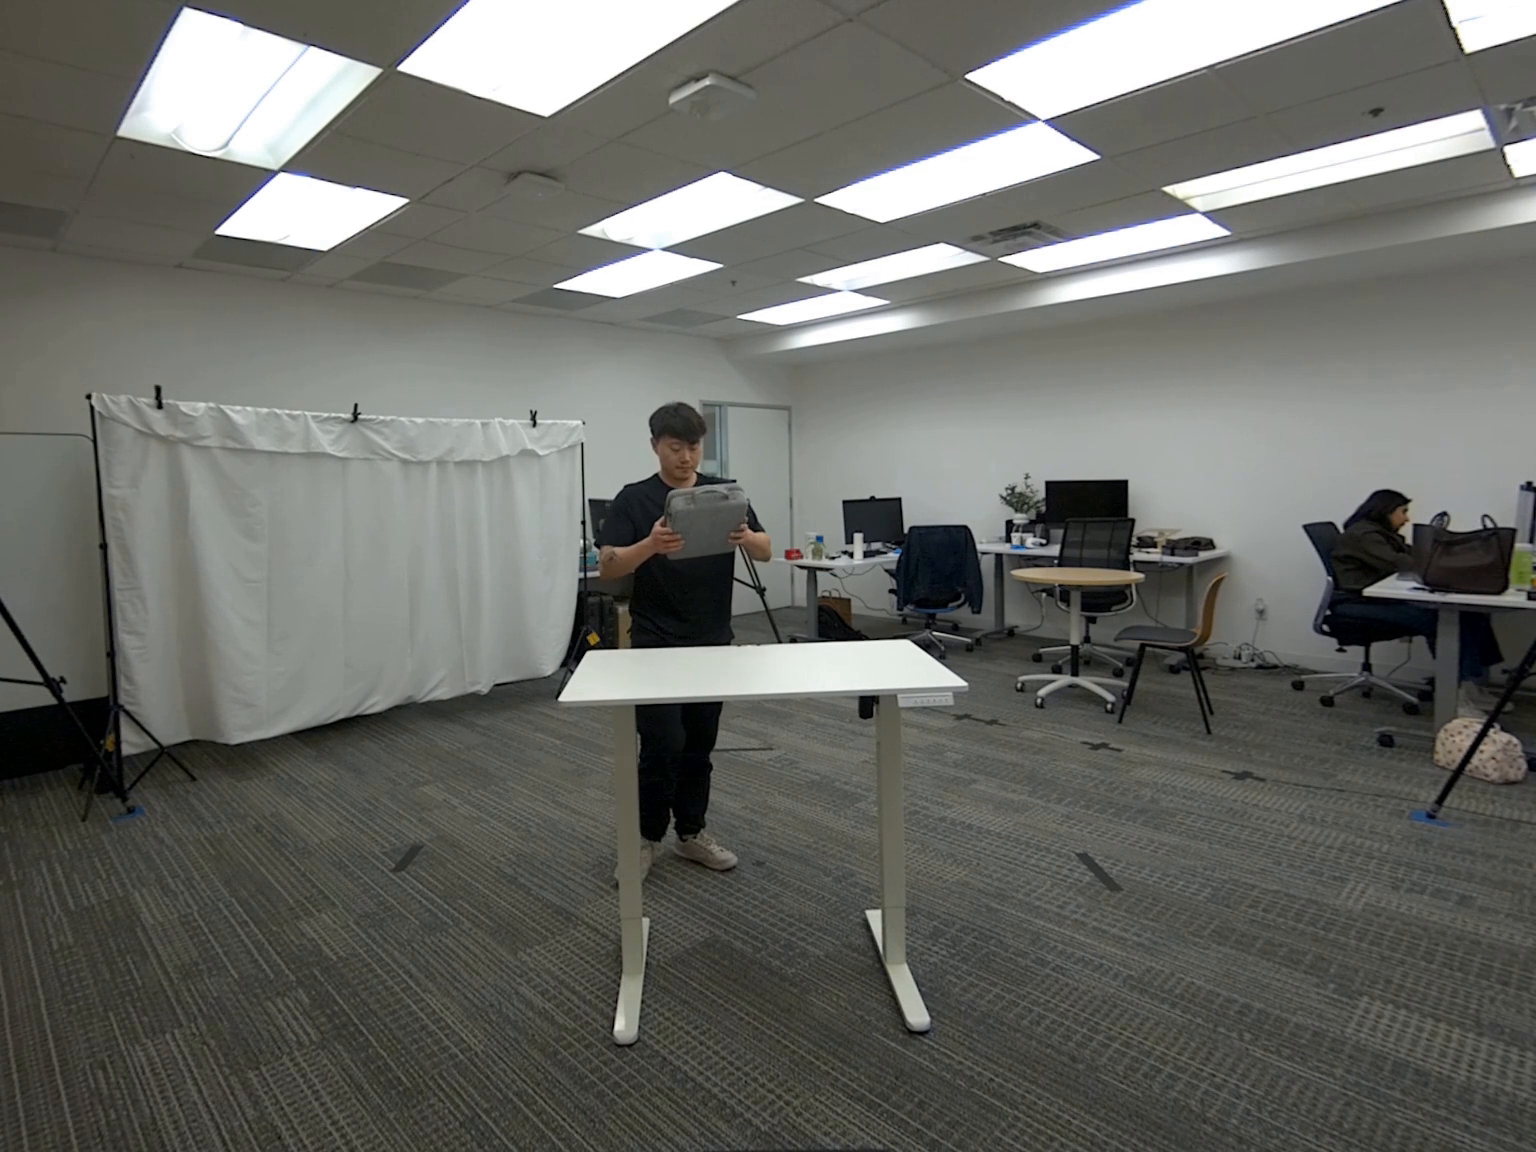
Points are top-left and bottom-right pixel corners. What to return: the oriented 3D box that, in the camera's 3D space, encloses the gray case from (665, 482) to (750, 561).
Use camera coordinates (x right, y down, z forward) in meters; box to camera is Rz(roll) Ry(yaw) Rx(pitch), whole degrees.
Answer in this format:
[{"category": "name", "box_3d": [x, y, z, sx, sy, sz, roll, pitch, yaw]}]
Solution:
[{"category": "gray case", "box_3d": [-0.223, -0.177, 2.758, 0.253, 0.108, 0.255, -8, -37, -17]}]
